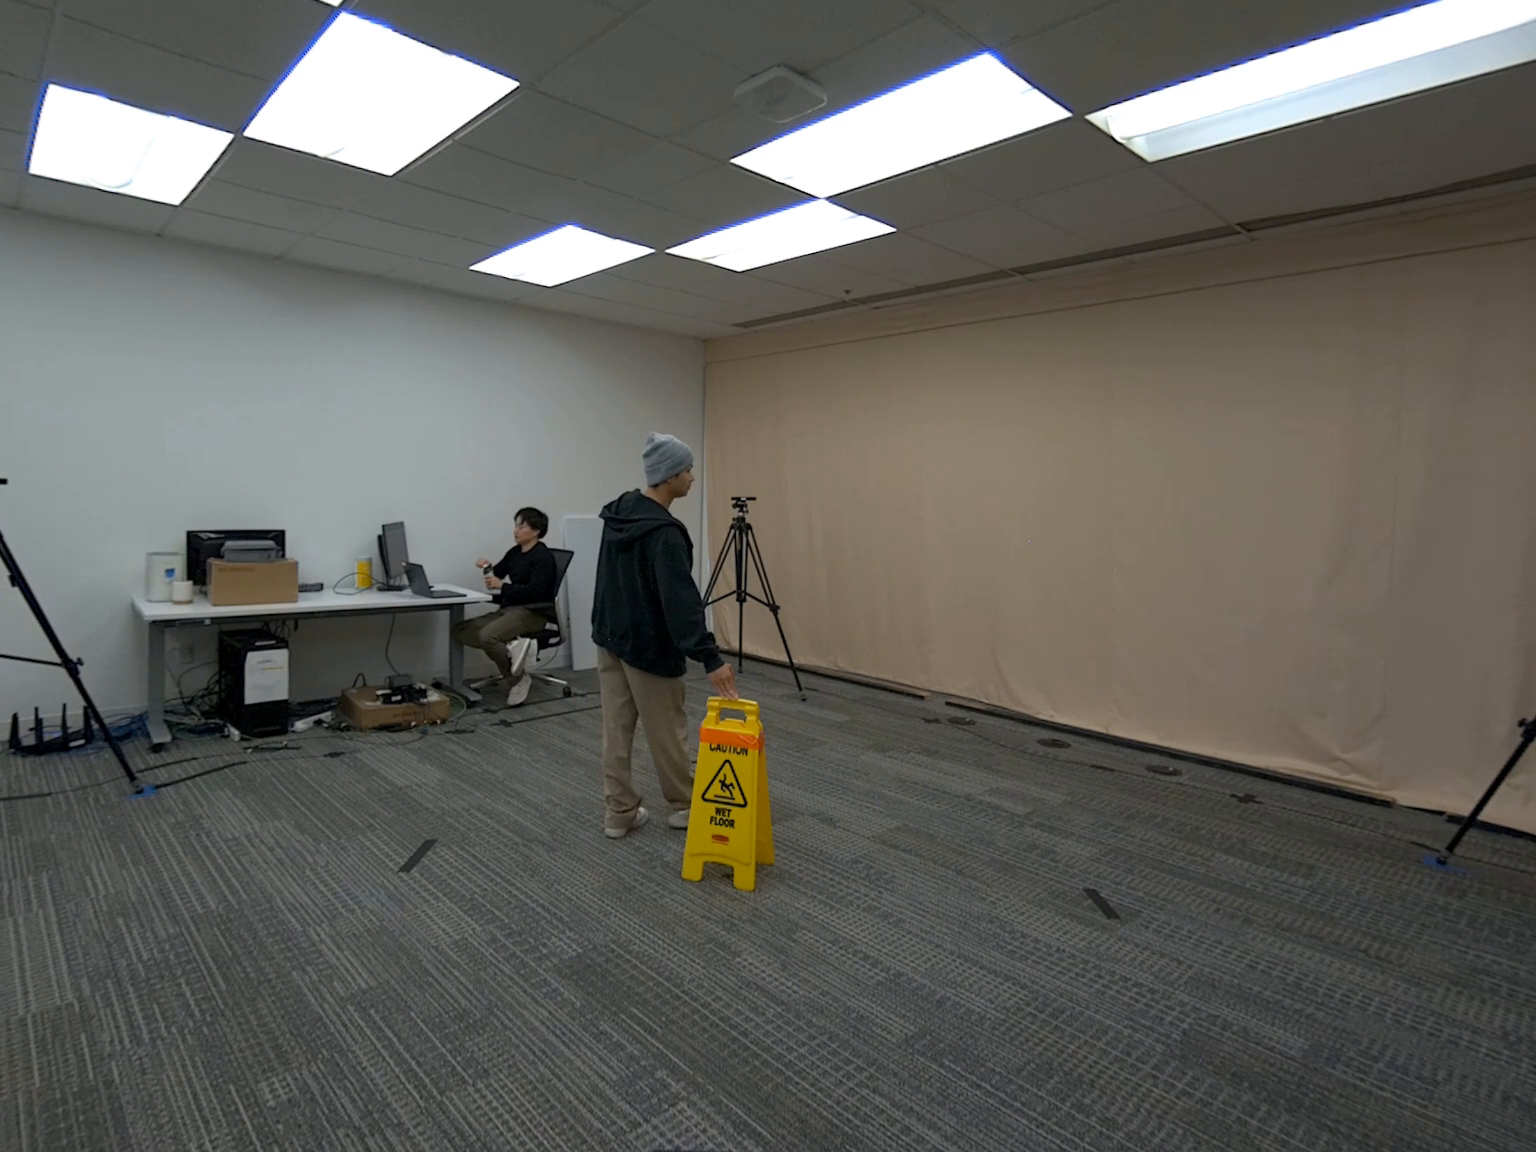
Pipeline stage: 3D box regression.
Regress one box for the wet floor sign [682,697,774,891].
[{"bbox_3d":[-0.143,0.779,3.136,0.286,0.645,0.286,3,3,18],"label":"wet floor sign"}]
